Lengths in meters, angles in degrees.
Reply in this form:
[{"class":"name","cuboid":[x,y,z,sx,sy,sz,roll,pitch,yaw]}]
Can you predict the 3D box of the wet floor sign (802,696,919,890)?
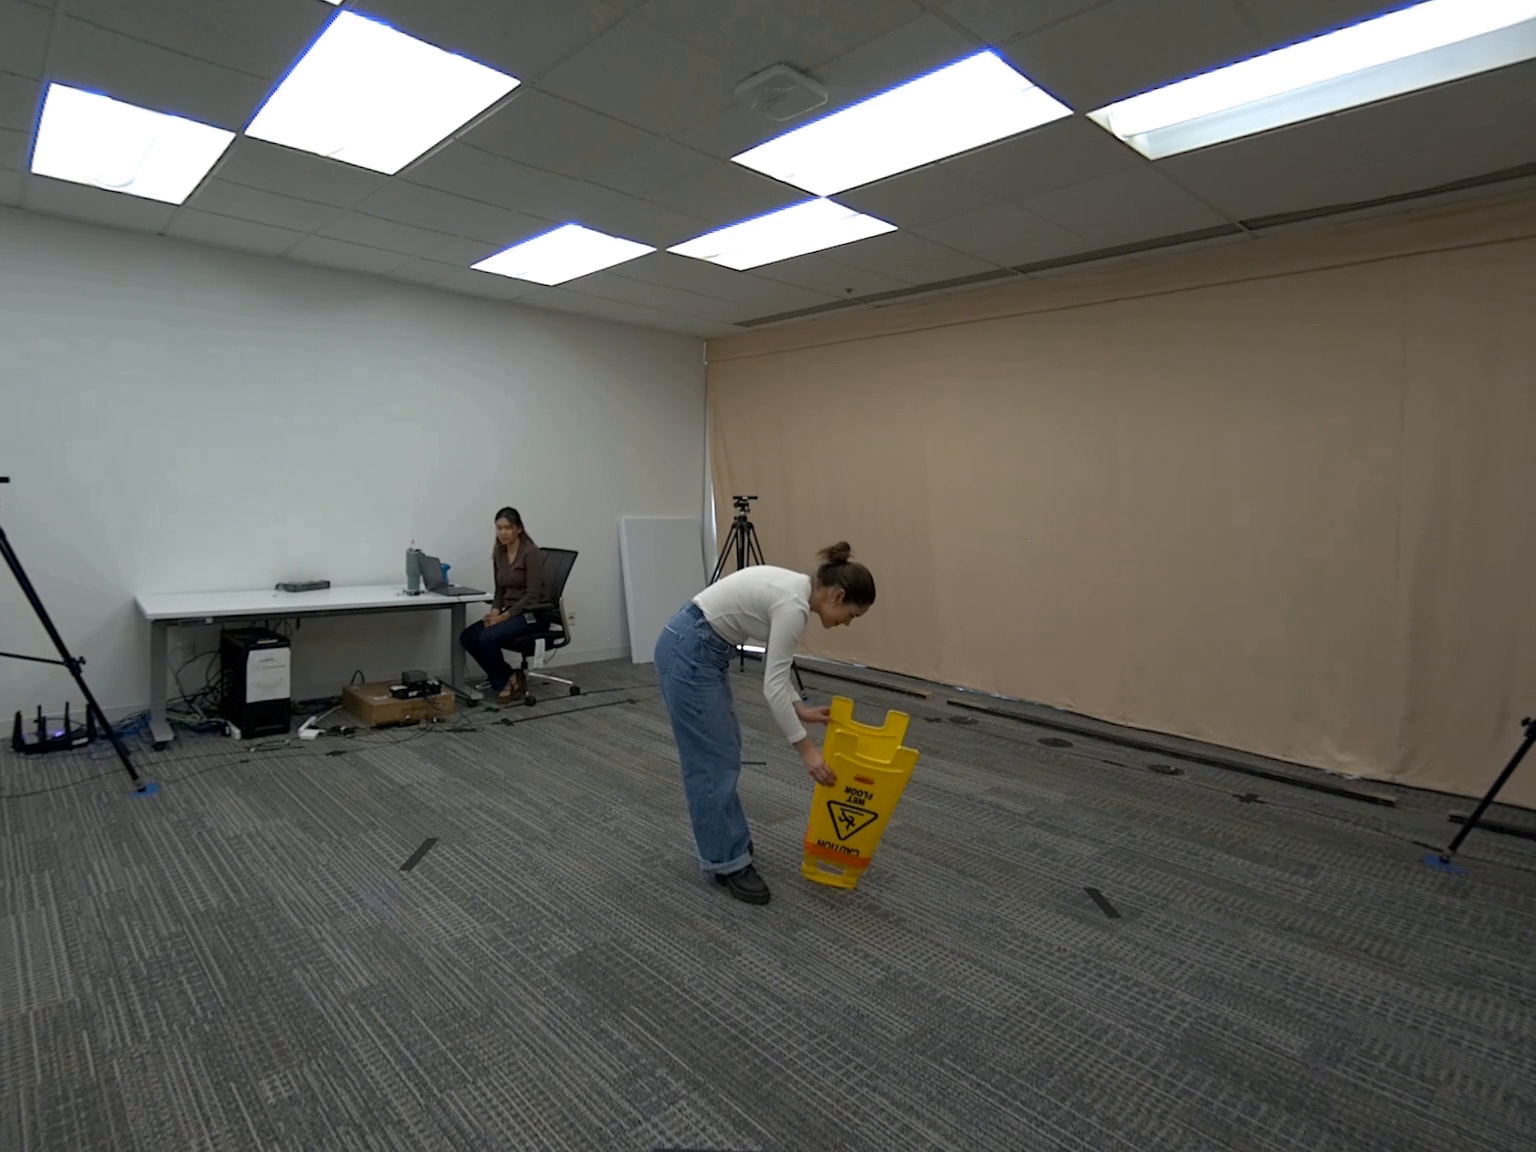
[{"class":"wet floor sign","cuboid":[0.282,0.805,2.950,0.283,0.640,0.292,14,16,1]}]
